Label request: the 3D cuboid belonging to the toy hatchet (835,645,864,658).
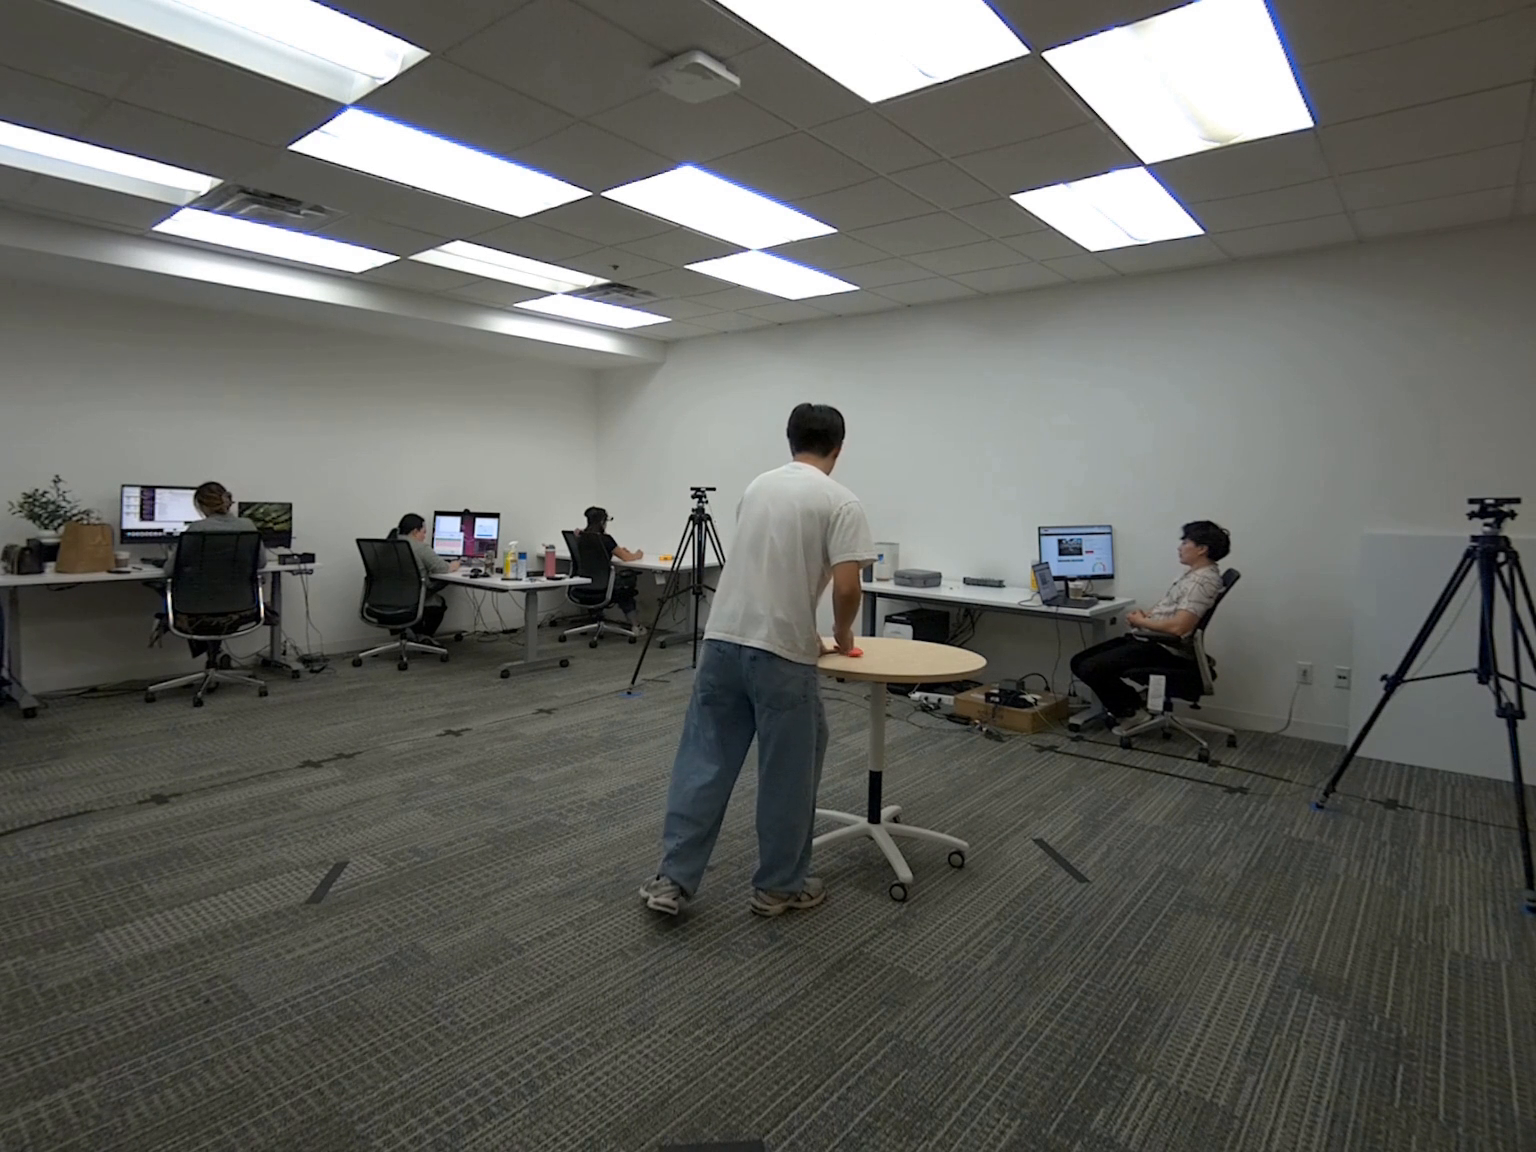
[{"bbox_3d":[0.238,0.282,3.087,0.136,0.029,0.262,11,12,40],"label":"toy hatchet"}]
